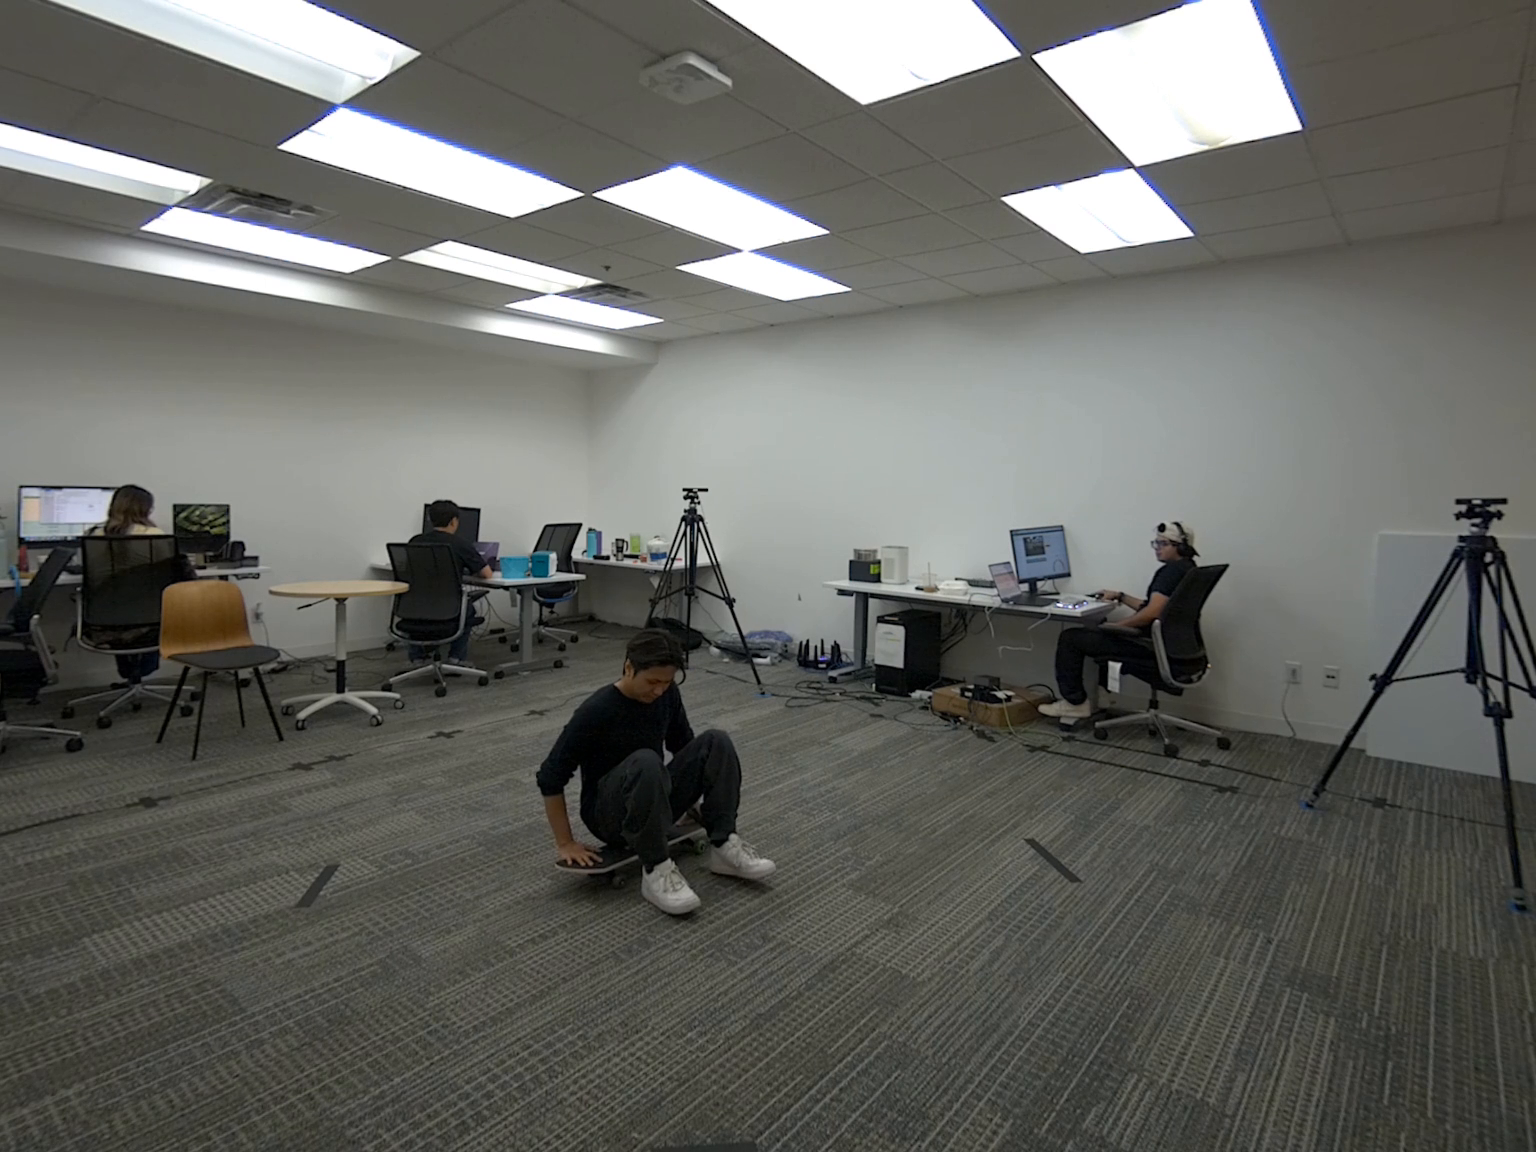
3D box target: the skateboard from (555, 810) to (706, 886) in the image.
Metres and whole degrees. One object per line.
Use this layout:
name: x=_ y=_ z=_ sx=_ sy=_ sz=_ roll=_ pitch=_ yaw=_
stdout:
skateboard: x=-0.457 y=1.022 z=3.150 sx=0.199 sy=0.110 sz=0.762 roll=-4 pitch=1 yaw=40
